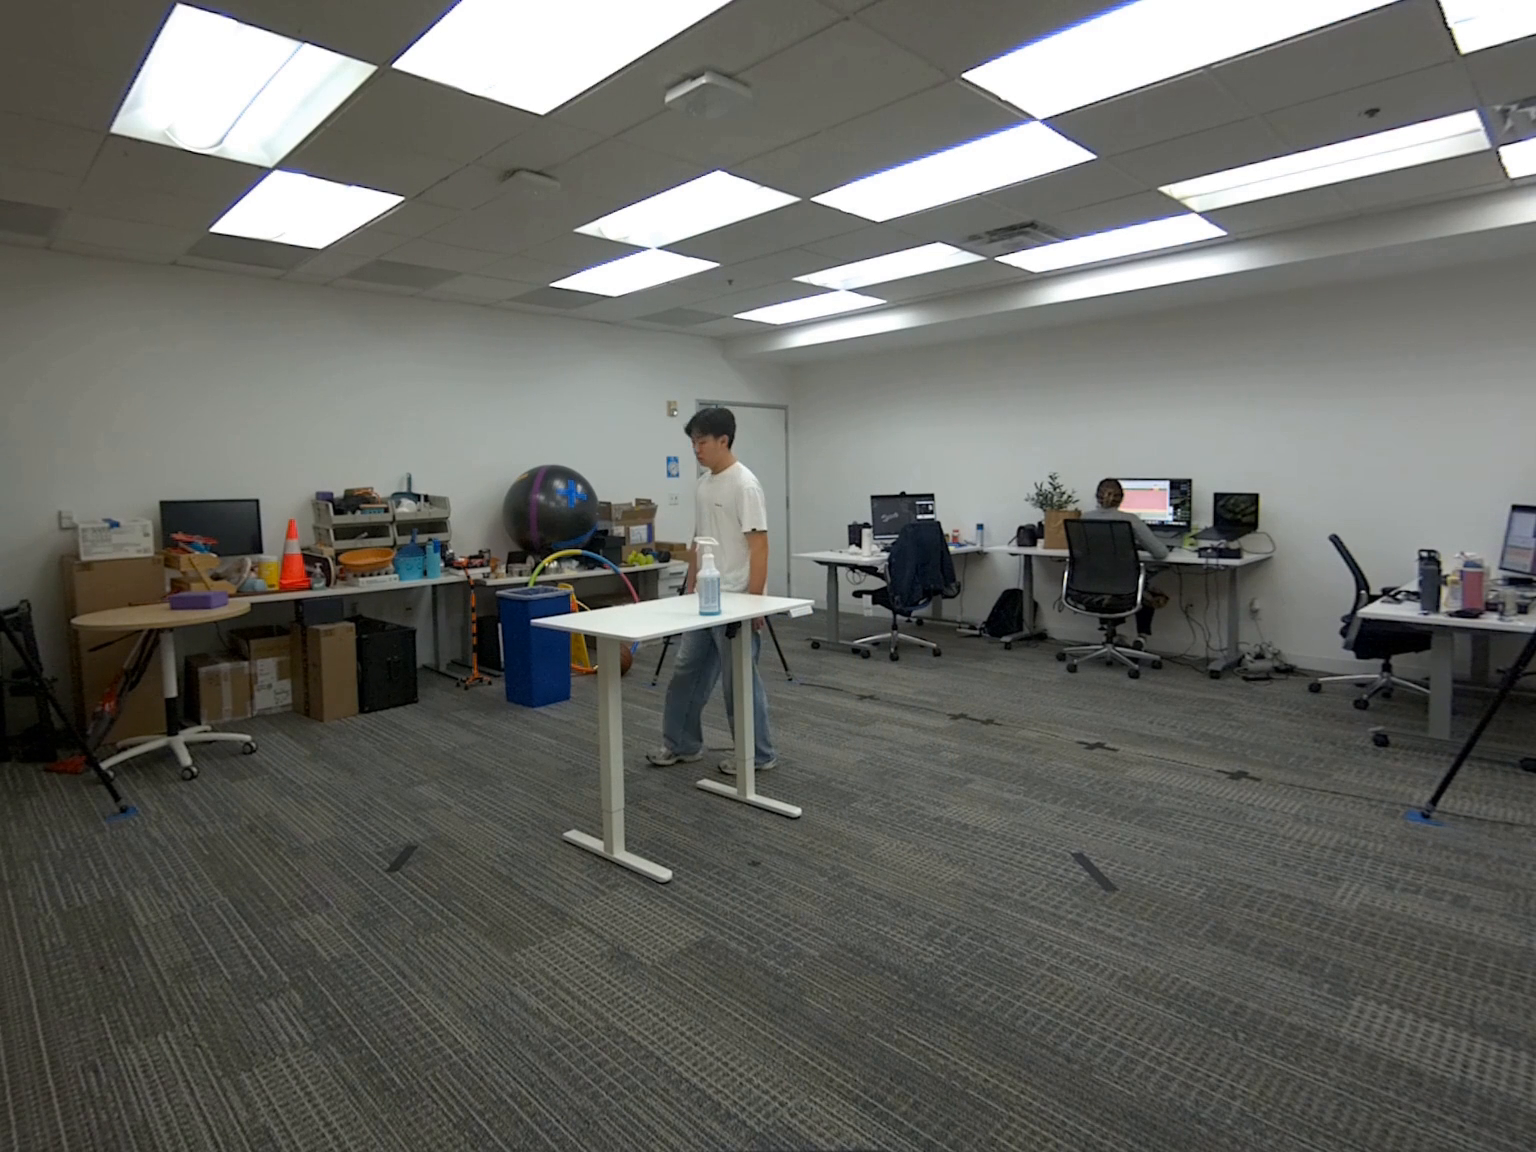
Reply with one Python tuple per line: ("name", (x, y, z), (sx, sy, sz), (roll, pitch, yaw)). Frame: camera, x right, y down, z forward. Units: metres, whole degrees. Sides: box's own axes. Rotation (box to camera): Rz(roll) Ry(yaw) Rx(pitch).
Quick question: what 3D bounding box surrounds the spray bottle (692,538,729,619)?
("spray bottle", (-0.219, 0.005, 3.264), (0.092, 0.296, 0.085), (-1, 3, 31))
